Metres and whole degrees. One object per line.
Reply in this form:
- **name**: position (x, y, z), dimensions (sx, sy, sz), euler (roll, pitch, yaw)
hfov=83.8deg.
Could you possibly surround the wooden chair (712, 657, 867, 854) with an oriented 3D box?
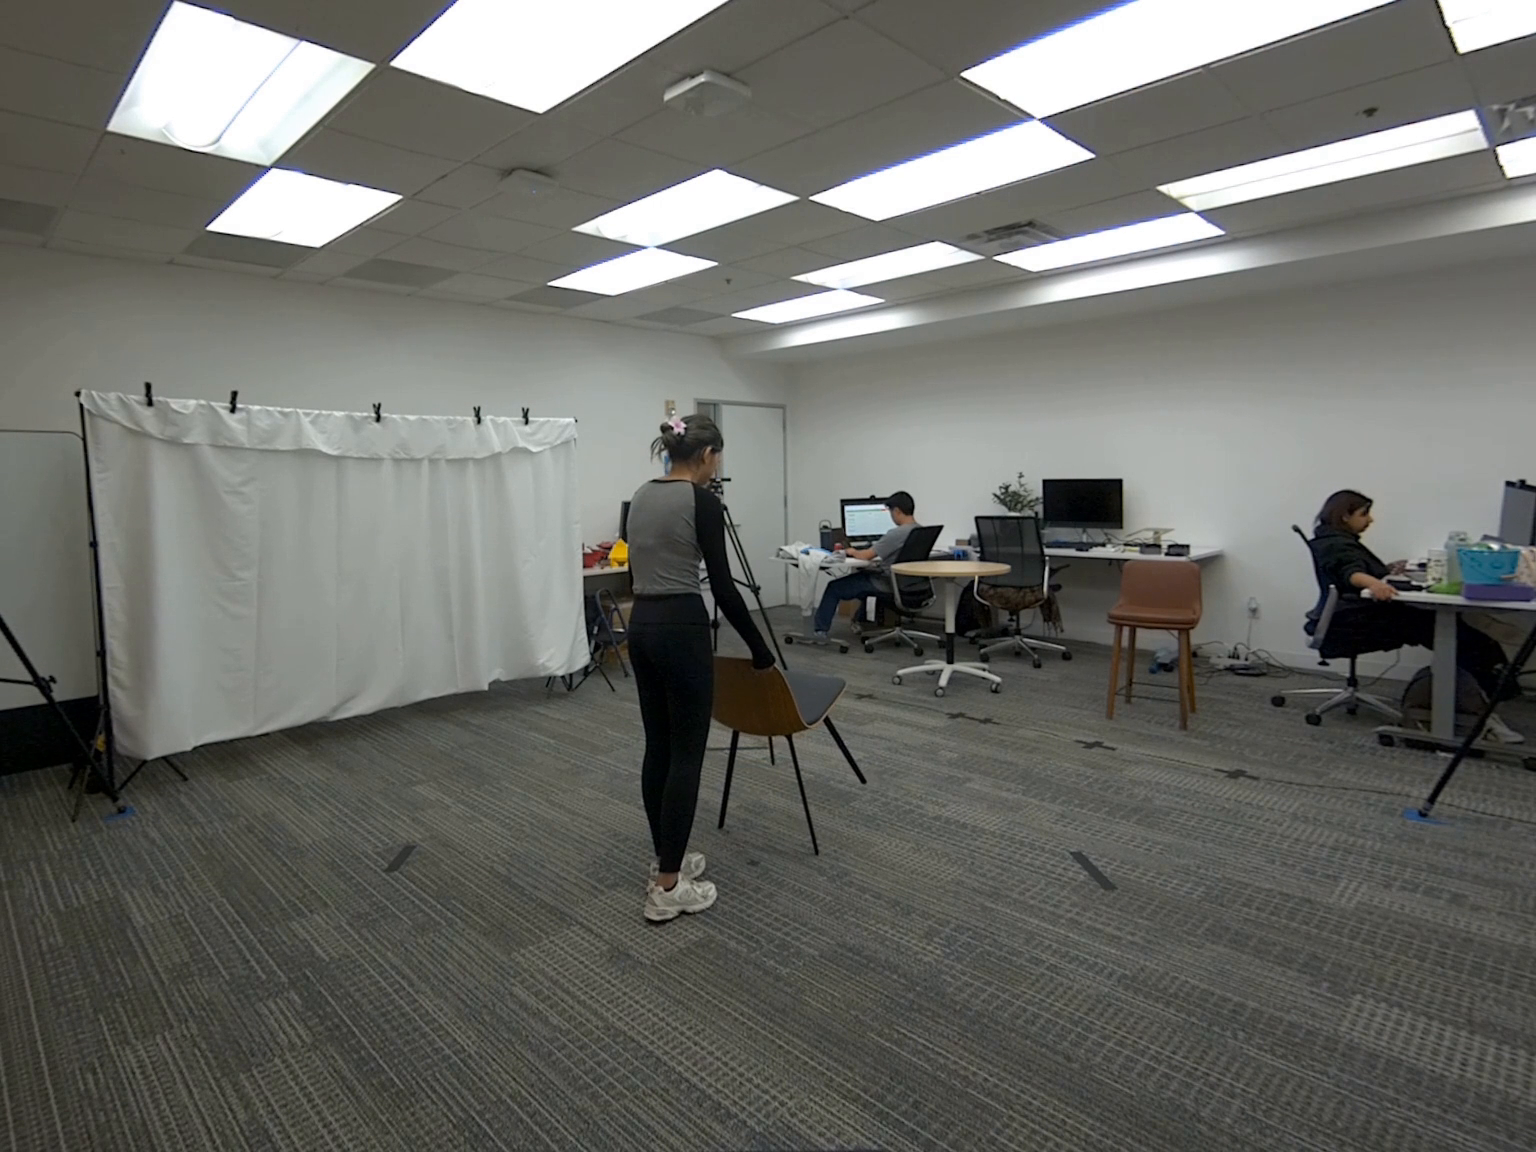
- **wooden chair**: position (0.033, 0.540, 3.336), dimensions (0.491, 0.857, 0.521), euler (2, 28, 33)
